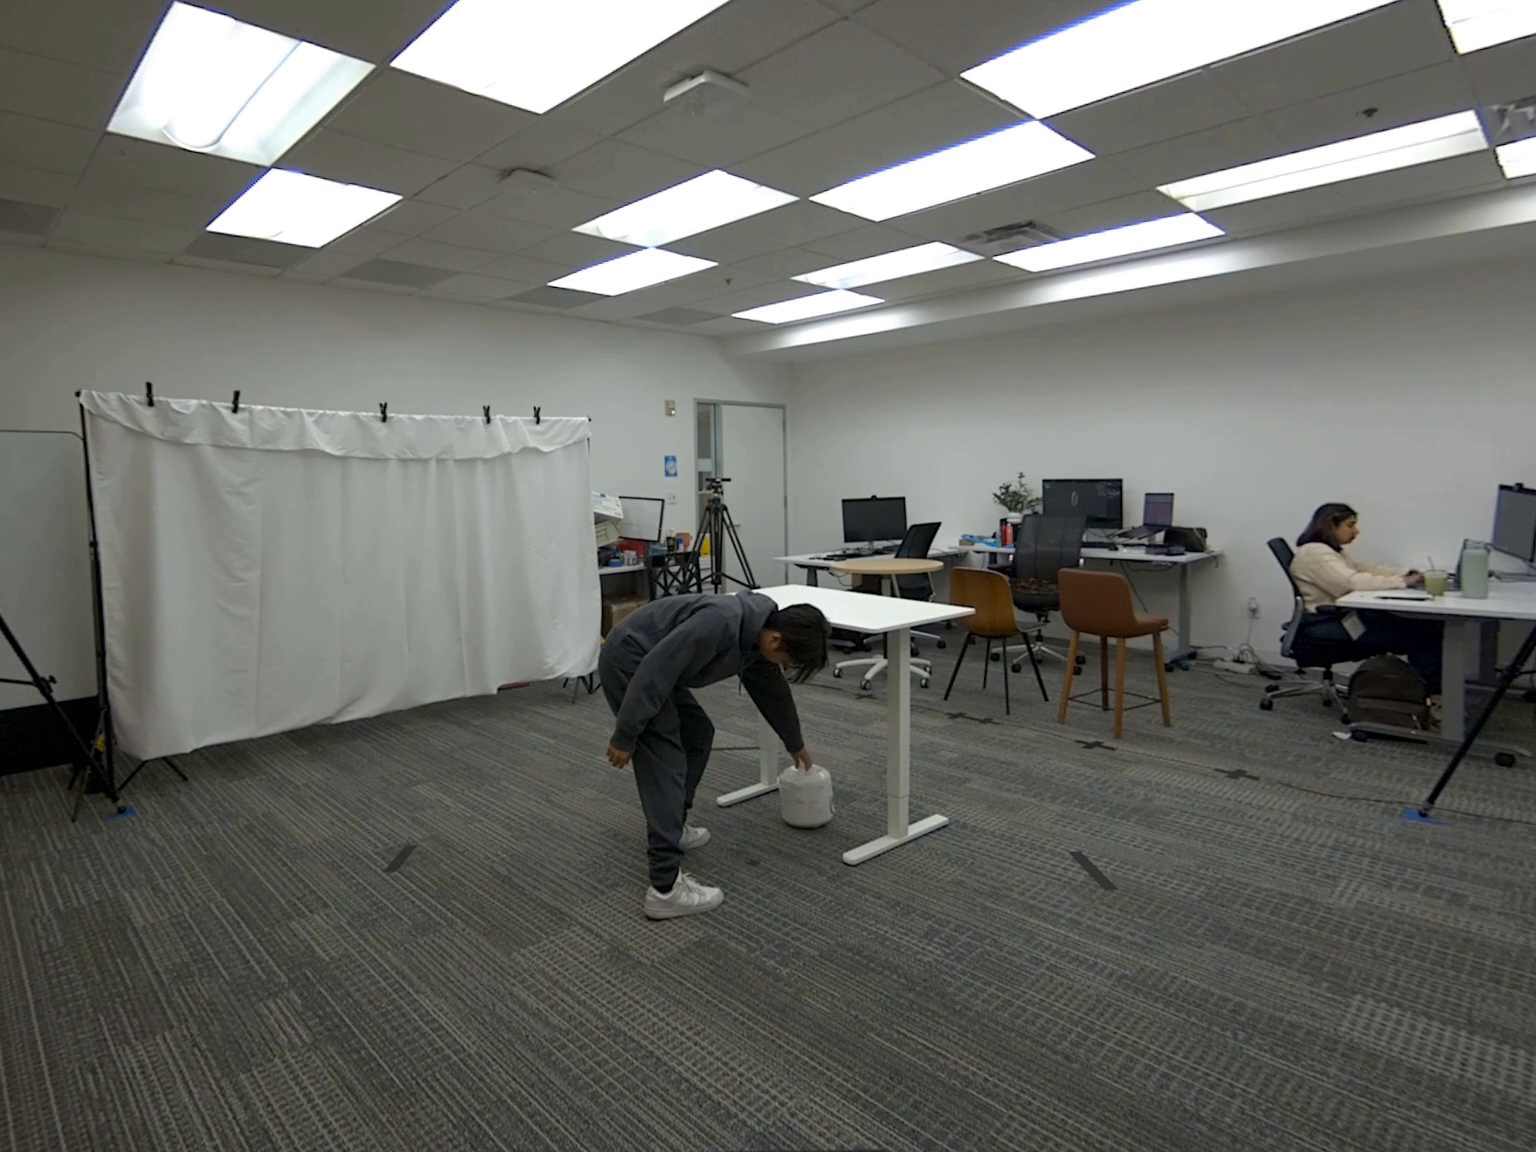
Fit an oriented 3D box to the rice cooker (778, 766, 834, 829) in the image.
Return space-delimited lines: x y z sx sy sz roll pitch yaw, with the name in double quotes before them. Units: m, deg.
"rice cooker" 0.153 0.872 3.460 0.221 0.232 0.218 -5 4 18
